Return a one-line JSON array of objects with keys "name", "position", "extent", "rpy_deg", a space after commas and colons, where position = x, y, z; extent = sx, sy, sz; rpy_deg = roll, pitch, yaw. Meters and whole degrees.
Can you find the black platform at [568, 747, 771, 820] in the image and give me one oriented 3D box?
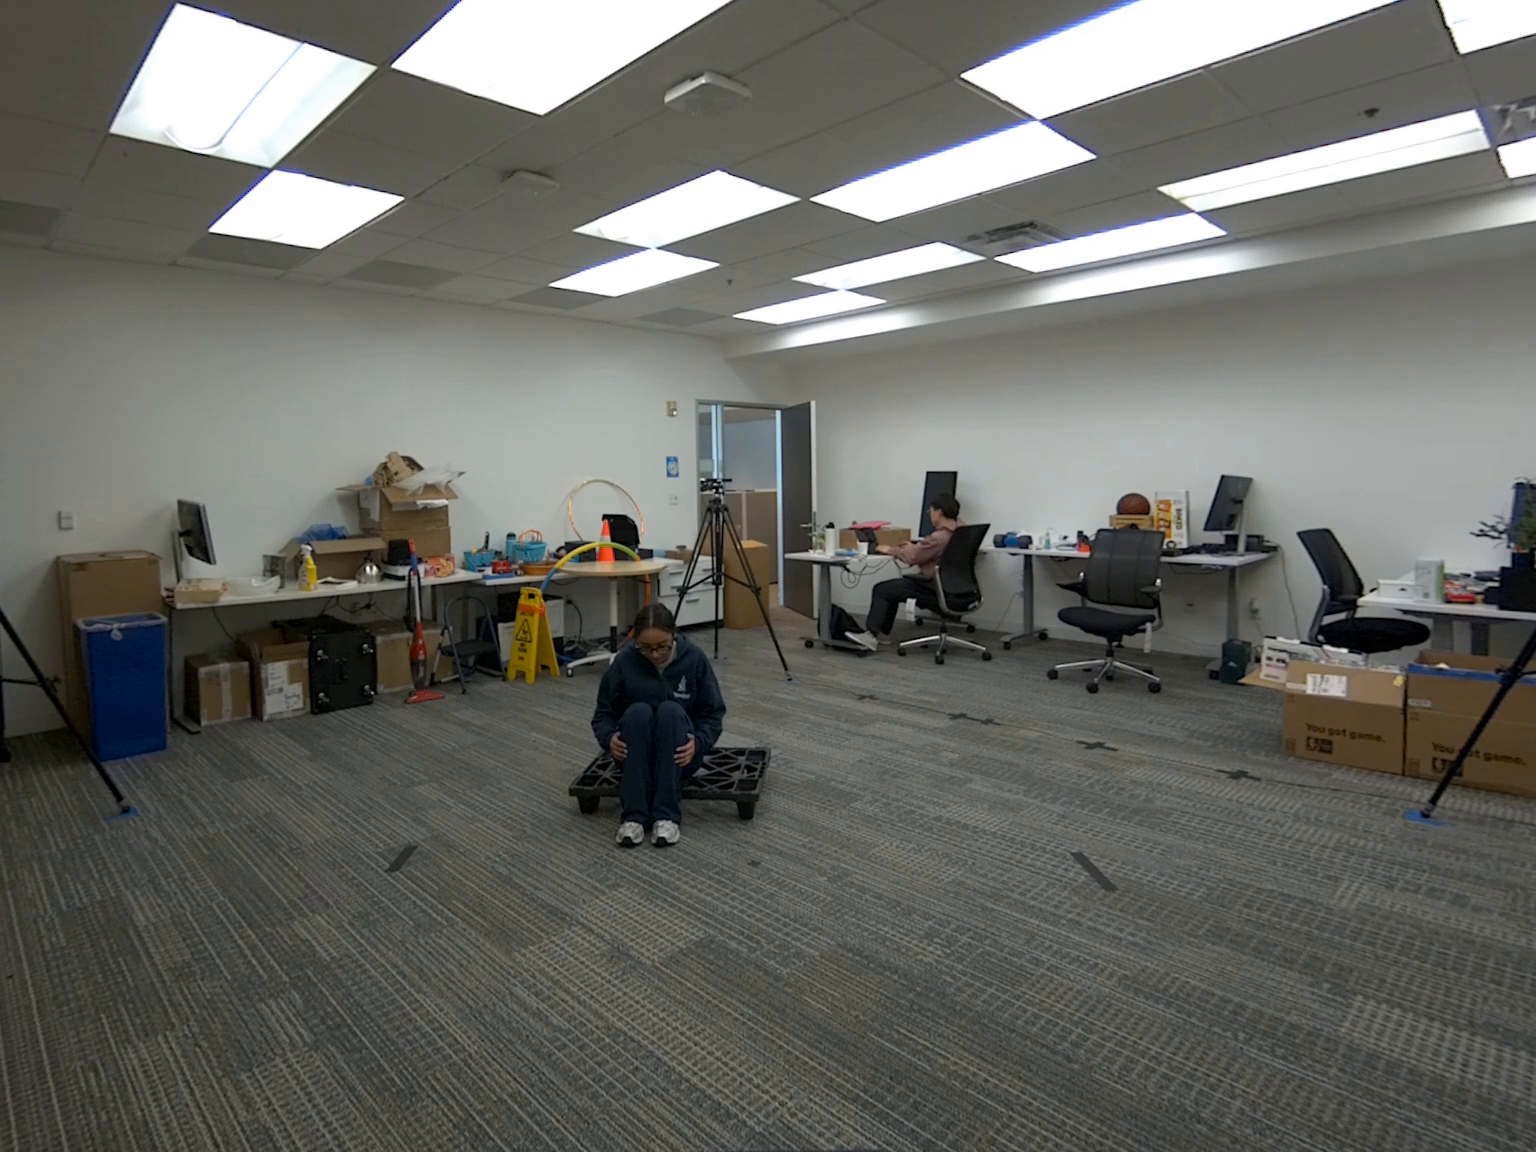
[{"name": "black platform", "position": [-0.407, 0.908, 3.790], "extent": [0.812, 0.143, 0.603], "rpy_deg": [0, 6, 7]}]
